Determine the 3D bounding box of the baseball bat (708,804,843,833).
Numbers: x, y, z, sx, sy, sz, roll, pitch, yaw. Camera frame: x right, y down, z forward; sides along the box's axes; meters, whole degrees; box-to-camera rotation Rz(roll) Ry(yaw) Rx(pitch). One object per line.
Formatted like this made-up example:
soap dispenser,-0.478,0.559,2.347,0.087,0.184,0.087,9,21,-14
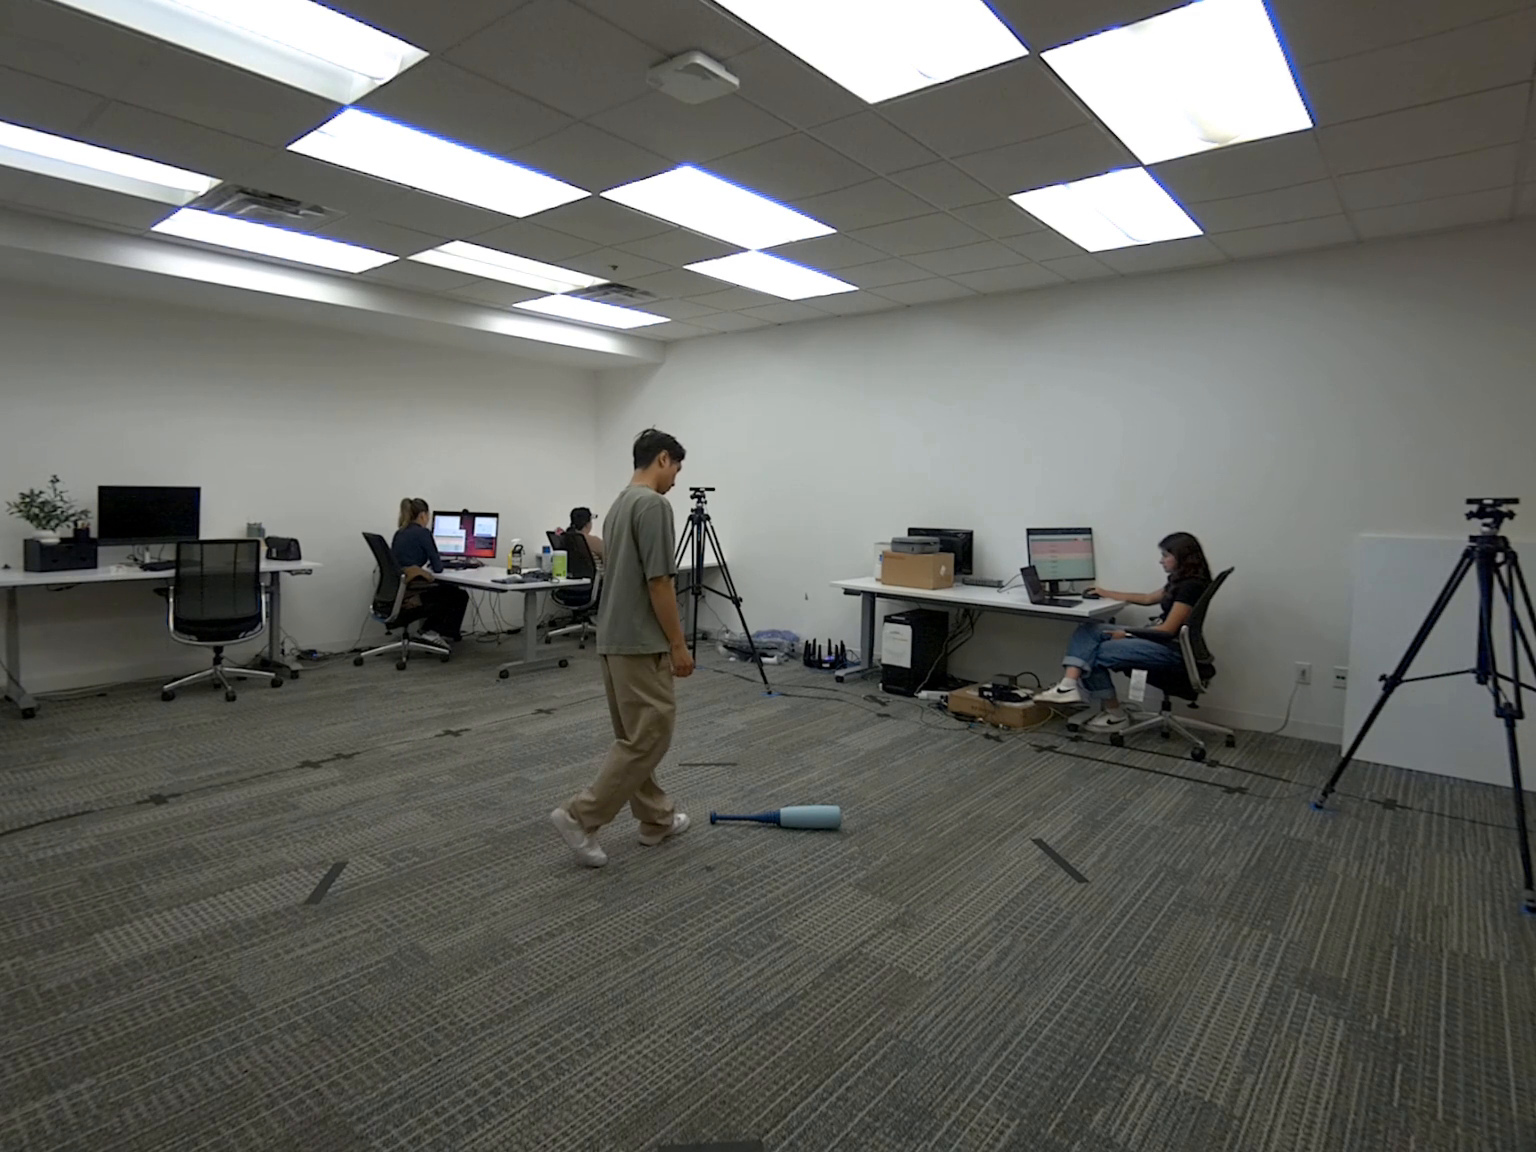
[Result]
baseball bat,0.021,0.998,3.513,0.546,0.089,0.089,-2,4,5
